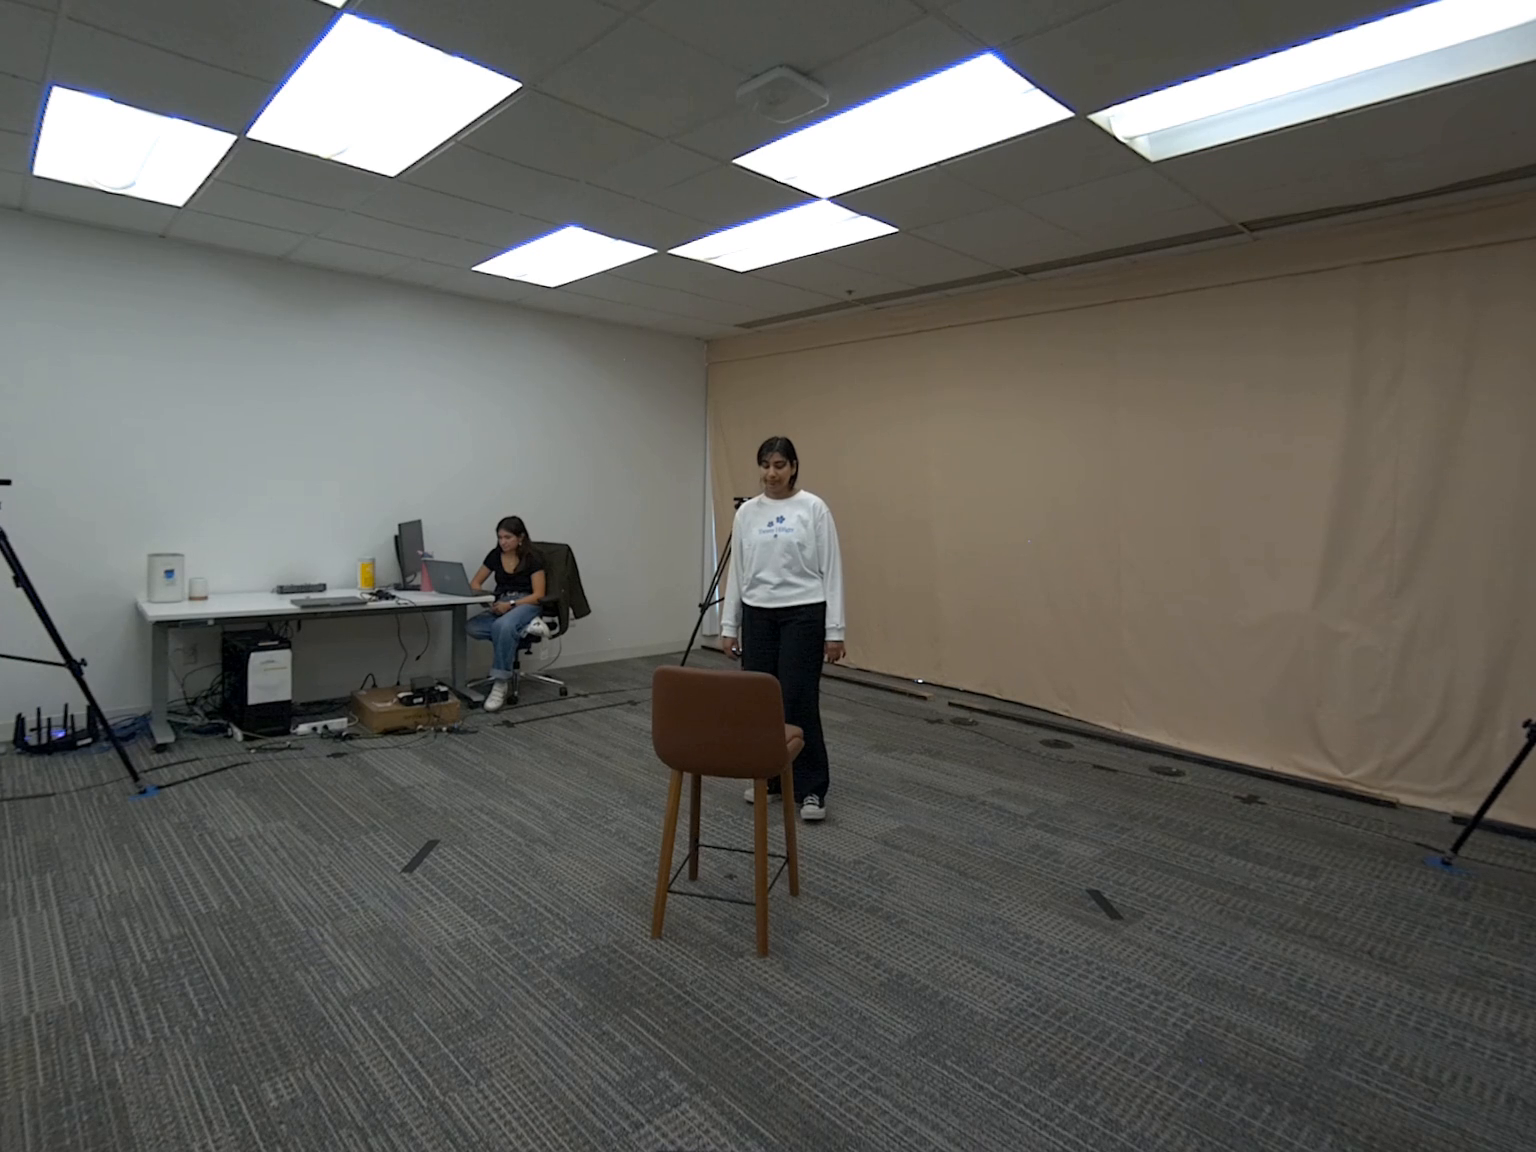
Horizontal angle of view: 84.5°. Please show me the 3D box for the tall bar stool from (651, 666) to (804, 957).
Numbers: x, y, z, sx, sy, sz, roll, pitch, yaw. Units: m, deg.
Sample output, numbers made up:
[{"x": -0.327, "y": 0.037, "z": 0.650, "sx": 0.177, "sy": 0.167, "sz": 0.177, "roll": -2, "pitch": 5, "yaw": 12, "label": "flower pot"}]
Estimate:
[{"x": -0.138, "y": 0.704, "z": 2.789, "sx": 0.462, "sy": 0.886, "sz": 0.463, "roll": 2, "pitch": 5, "yaw": 15, "label": "tall bar stool"}]
